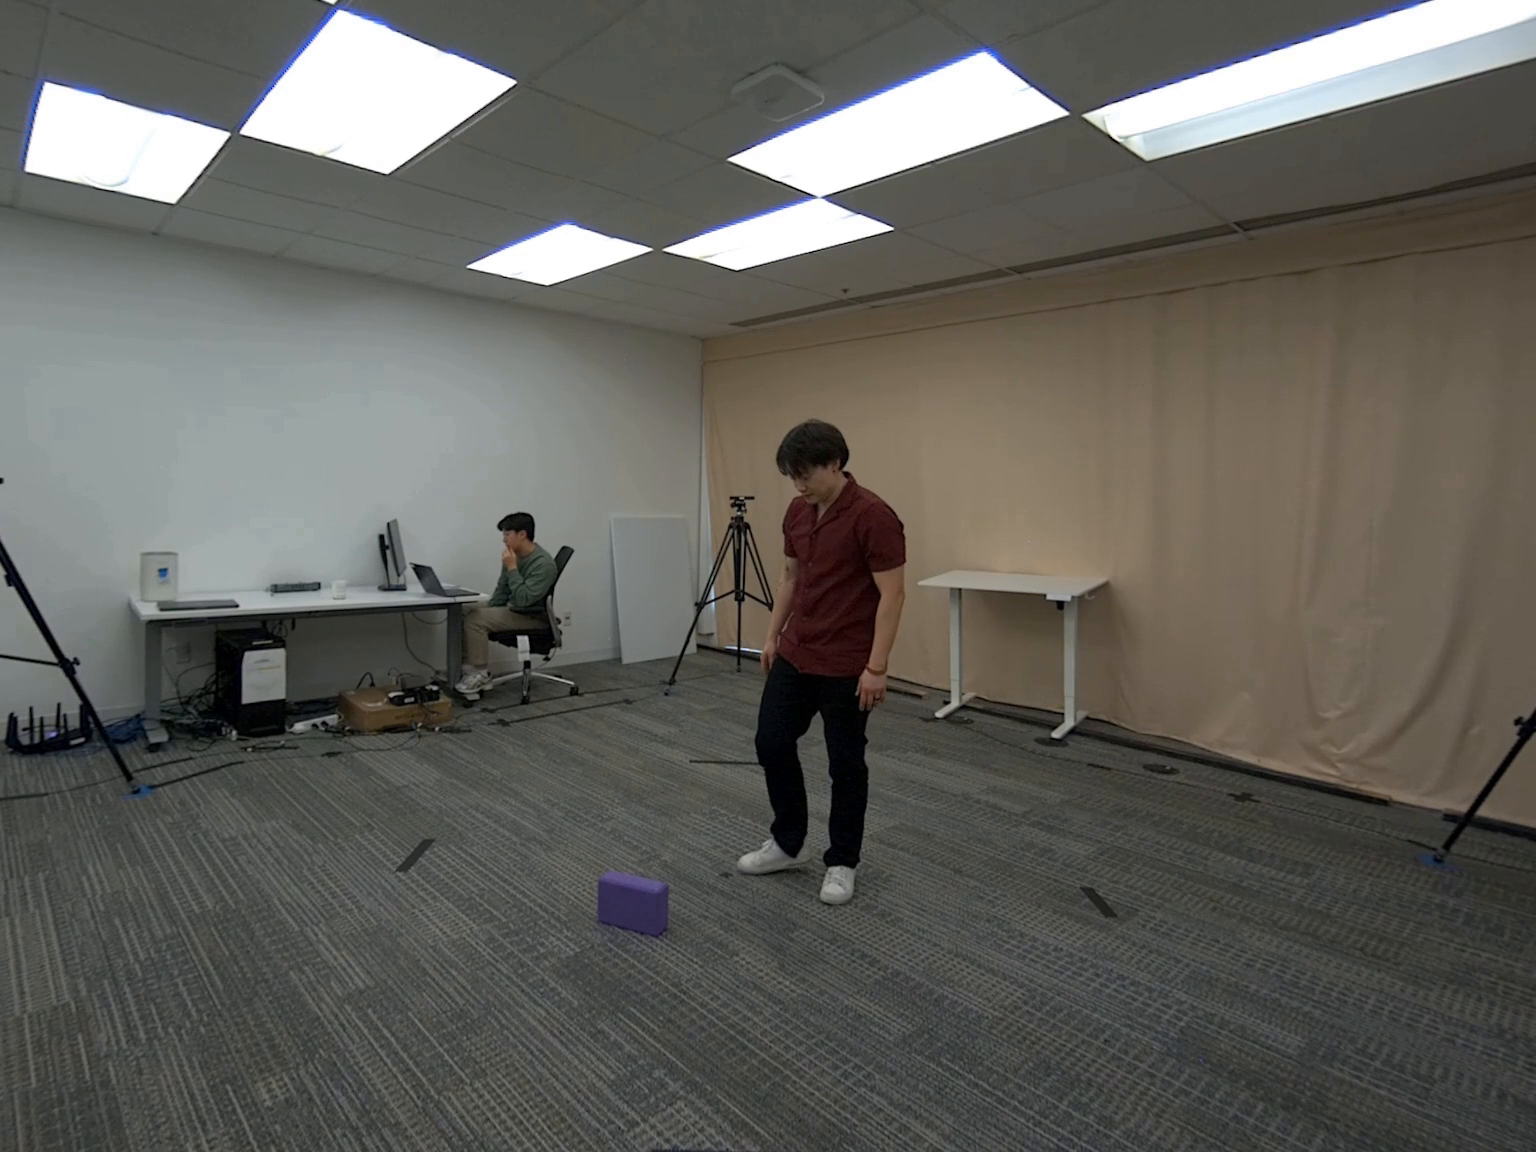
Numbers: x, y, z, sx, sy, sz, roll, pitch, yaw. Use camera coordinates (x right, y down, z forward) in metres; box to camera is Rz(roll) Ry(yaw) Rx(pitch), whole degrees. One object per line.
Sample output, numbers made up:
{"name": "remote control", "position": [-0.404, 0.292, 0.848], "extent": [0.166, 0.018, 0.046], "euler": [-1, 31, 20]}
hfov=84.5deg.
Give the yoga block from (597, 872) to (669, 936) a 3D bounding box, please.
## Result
{"name": "yoga block", "position": [-0.445, 1.057, 2.721], "extent": [0.233, 0.148, 0.075], "euler": [2, 4, 24]}
